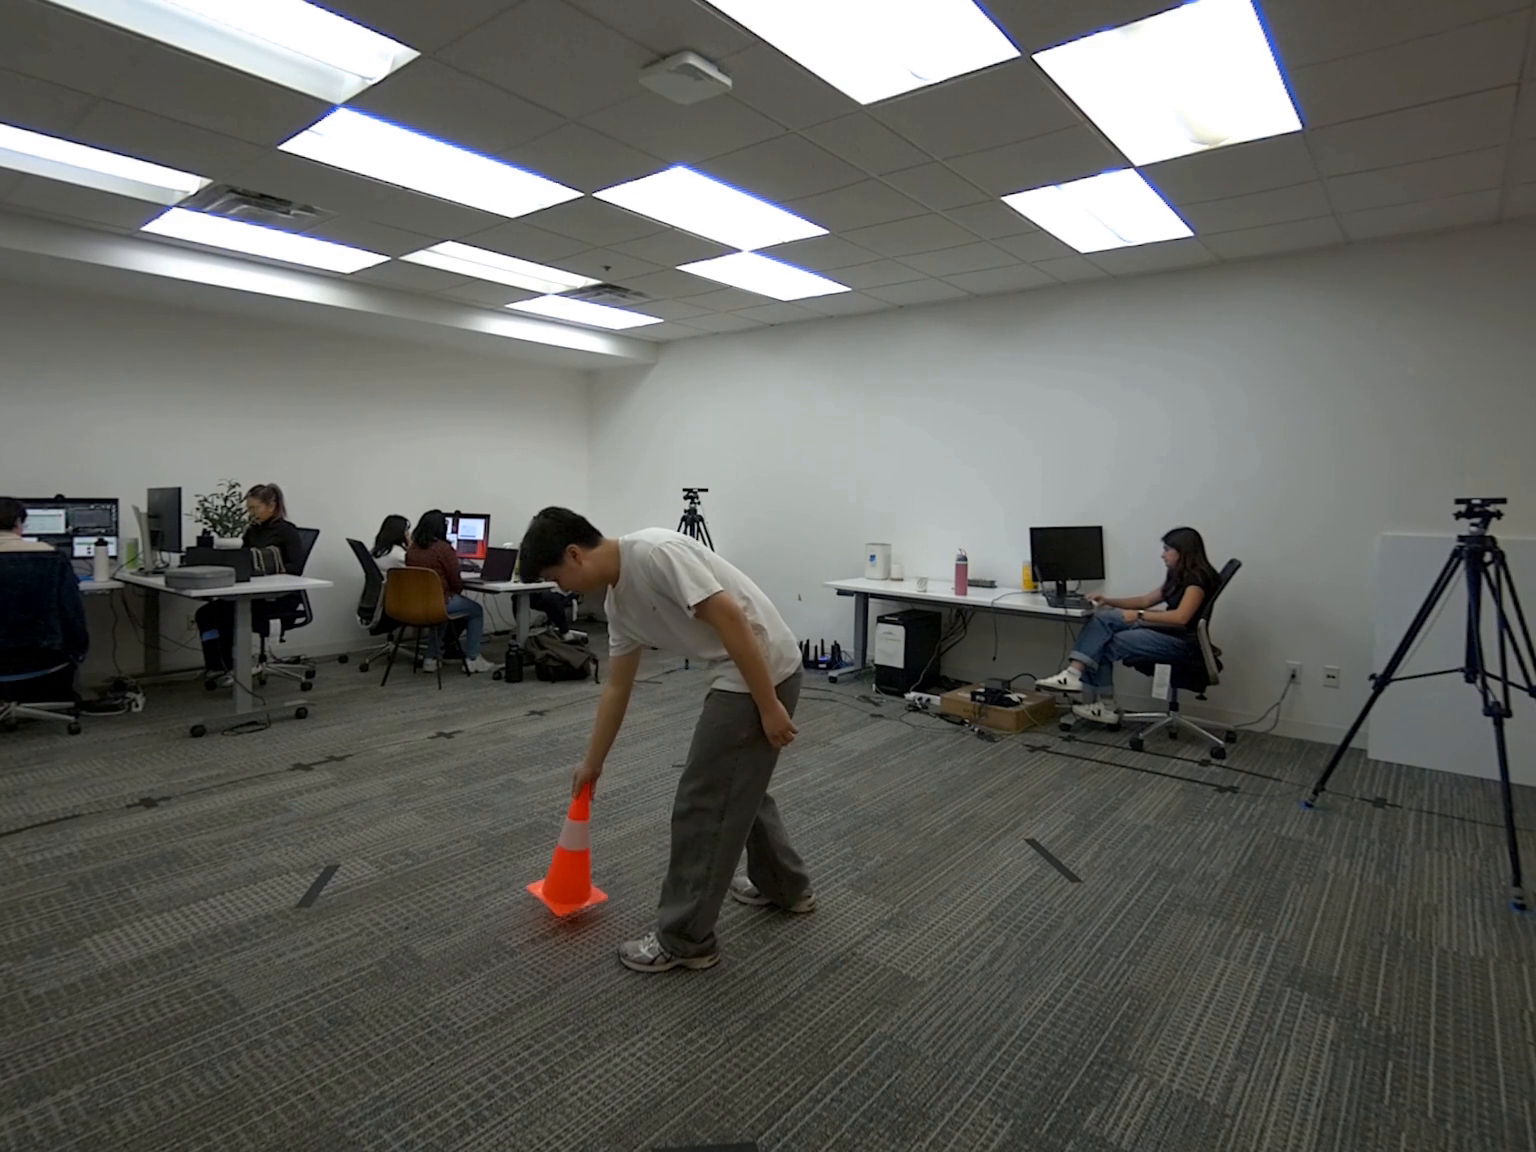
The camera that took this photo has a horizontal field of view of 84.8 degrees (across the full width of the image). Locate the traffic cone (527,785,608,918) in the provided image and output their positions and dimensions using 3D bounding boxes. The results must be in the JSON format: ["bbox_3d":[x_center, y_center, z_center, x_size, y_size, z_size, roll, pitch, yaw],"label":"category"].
[{"bbox_3d":[-0.615,0.826,2.726,0.211,0.382,0.198,14,6,40],"label":"traffic cone"}]
